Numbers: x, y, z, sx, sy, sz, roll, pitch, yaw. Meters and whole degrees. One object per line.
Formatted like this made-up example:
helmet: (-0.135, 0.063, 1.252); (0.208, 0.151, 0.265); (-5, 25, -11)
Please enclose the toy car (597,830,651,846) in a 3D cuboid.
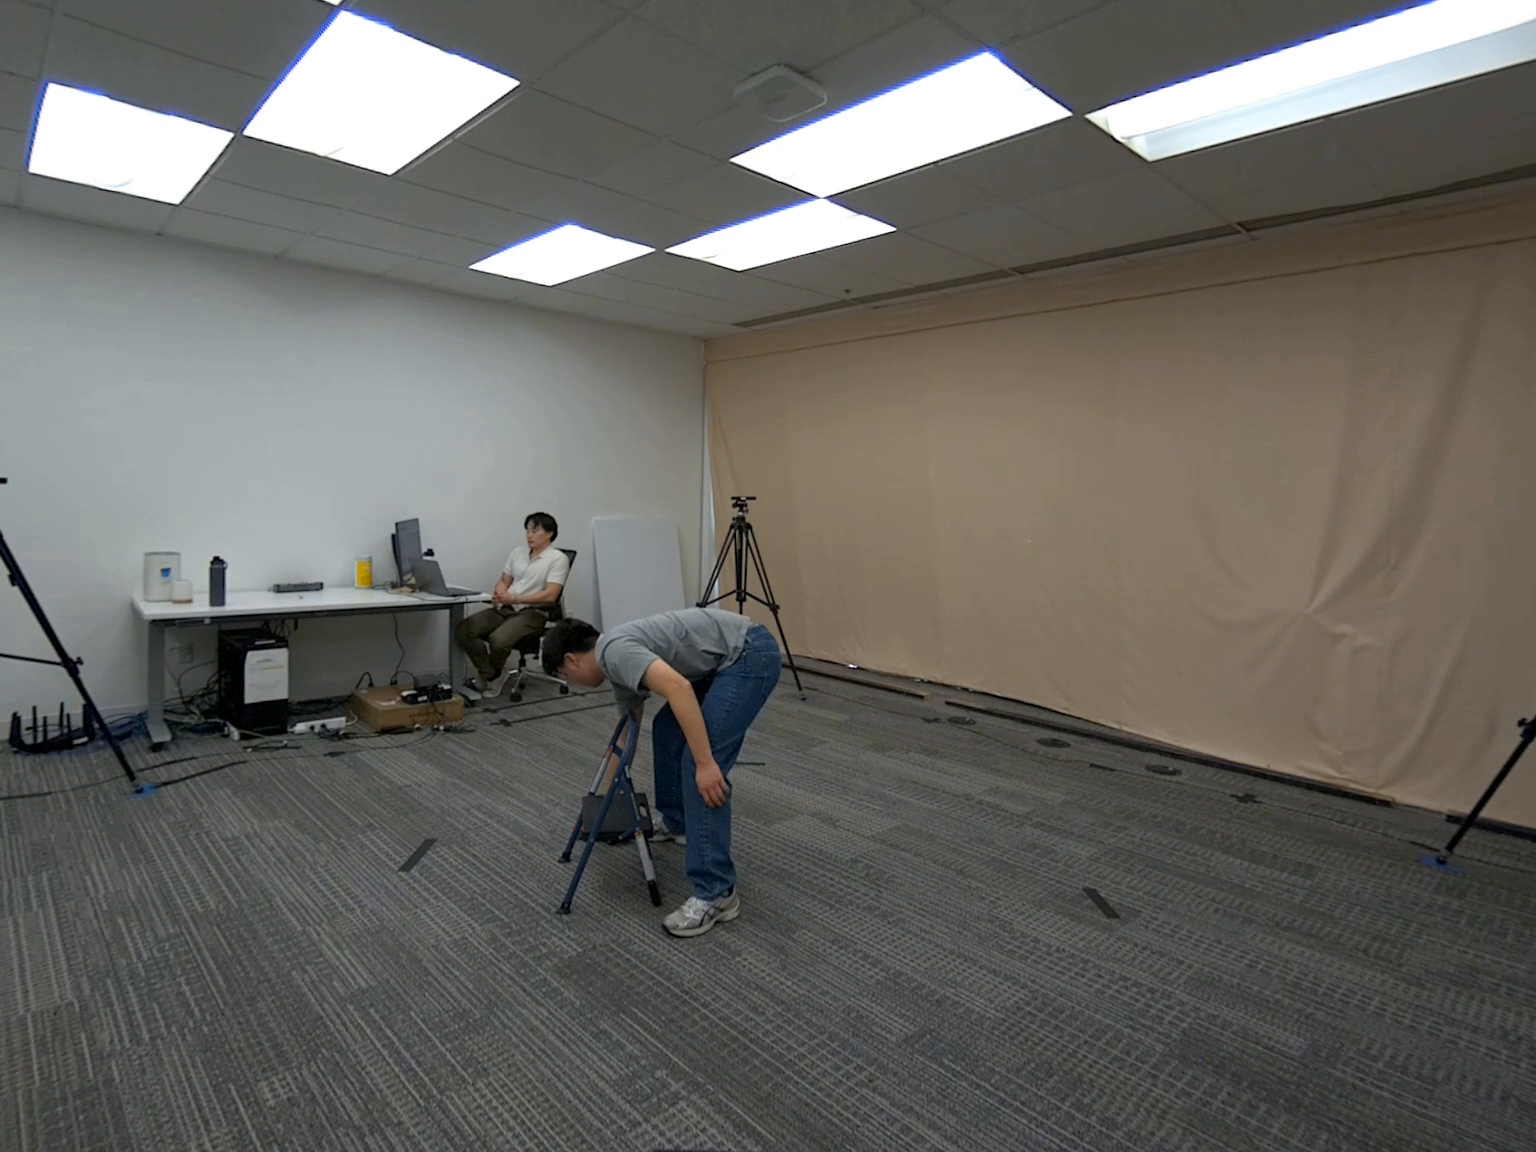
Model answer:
toy car: (-0.650, 1.037, 3.391); (0.257, 0.083, 0.129); (-8, 2, 15)
